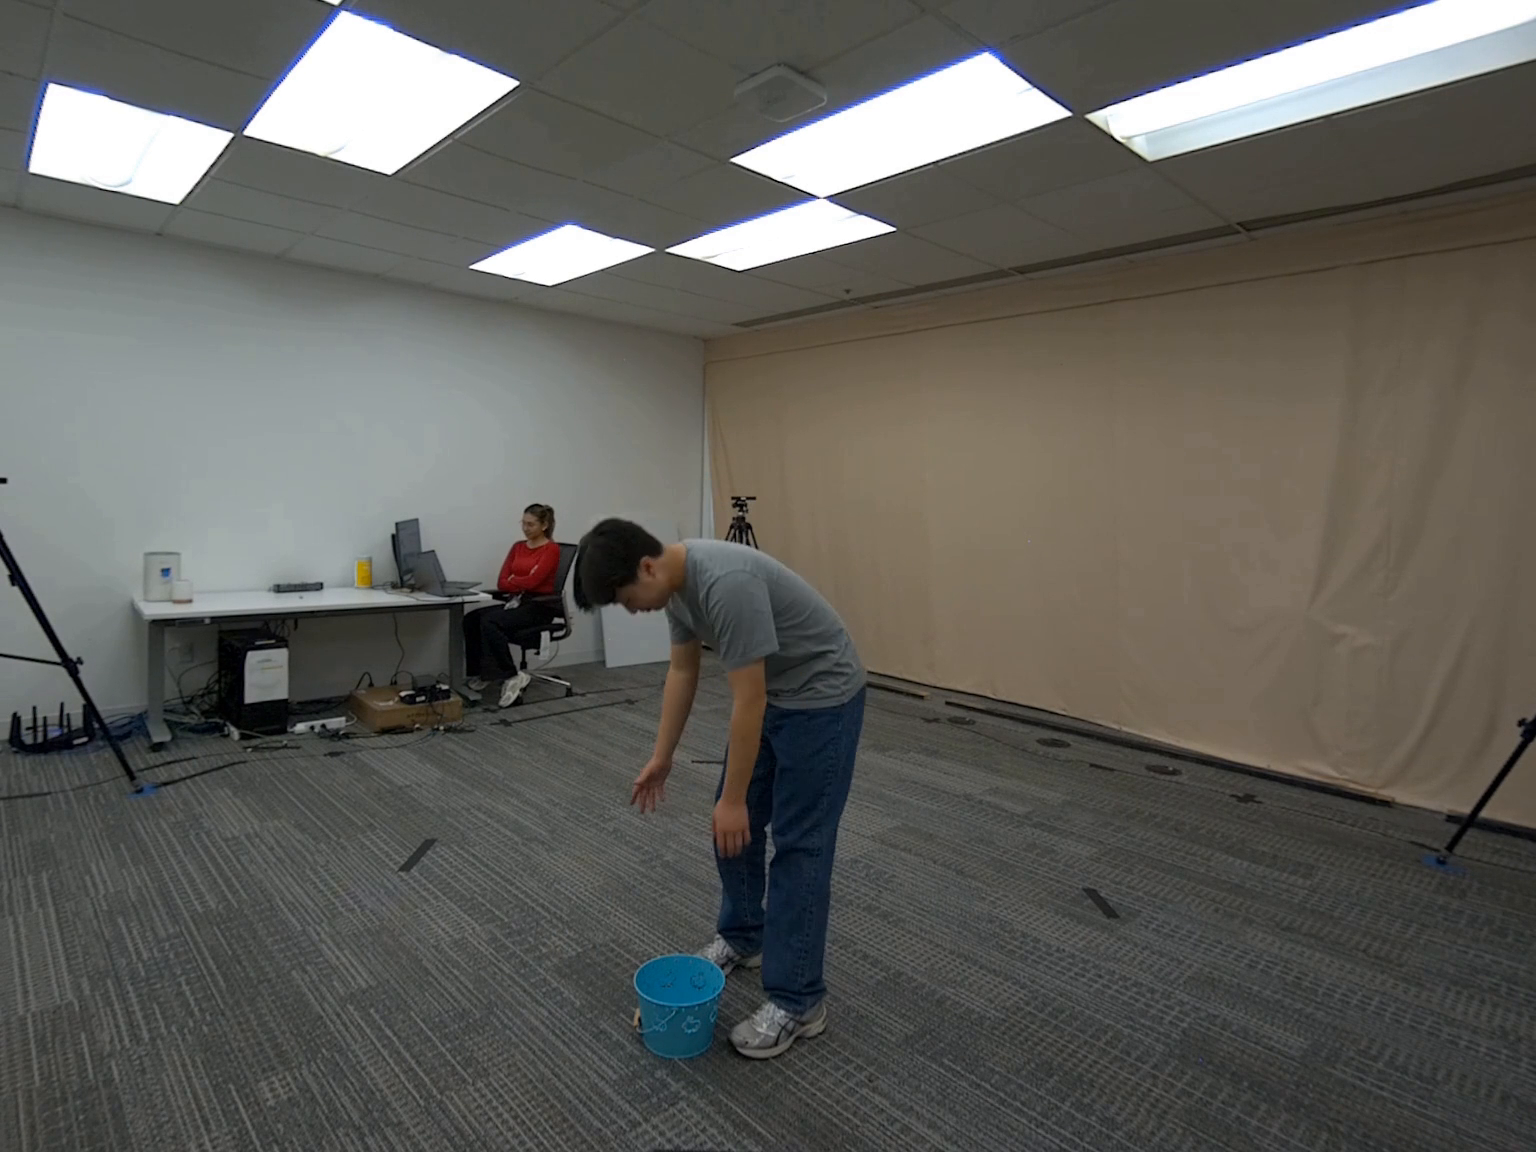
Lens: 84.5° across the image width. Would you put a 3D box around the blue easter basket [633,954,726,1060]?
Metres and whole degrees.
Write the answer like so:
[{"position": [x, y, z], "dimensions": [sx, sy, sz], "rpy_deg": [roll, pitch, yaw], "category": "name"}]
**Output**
[{"position": [-0.228, 1.109, 2.176], "dimensions": [0.243, 0.155, 0.244], "rpy_deg": [2, 5, -1], "category": "blue easter basket"}]
